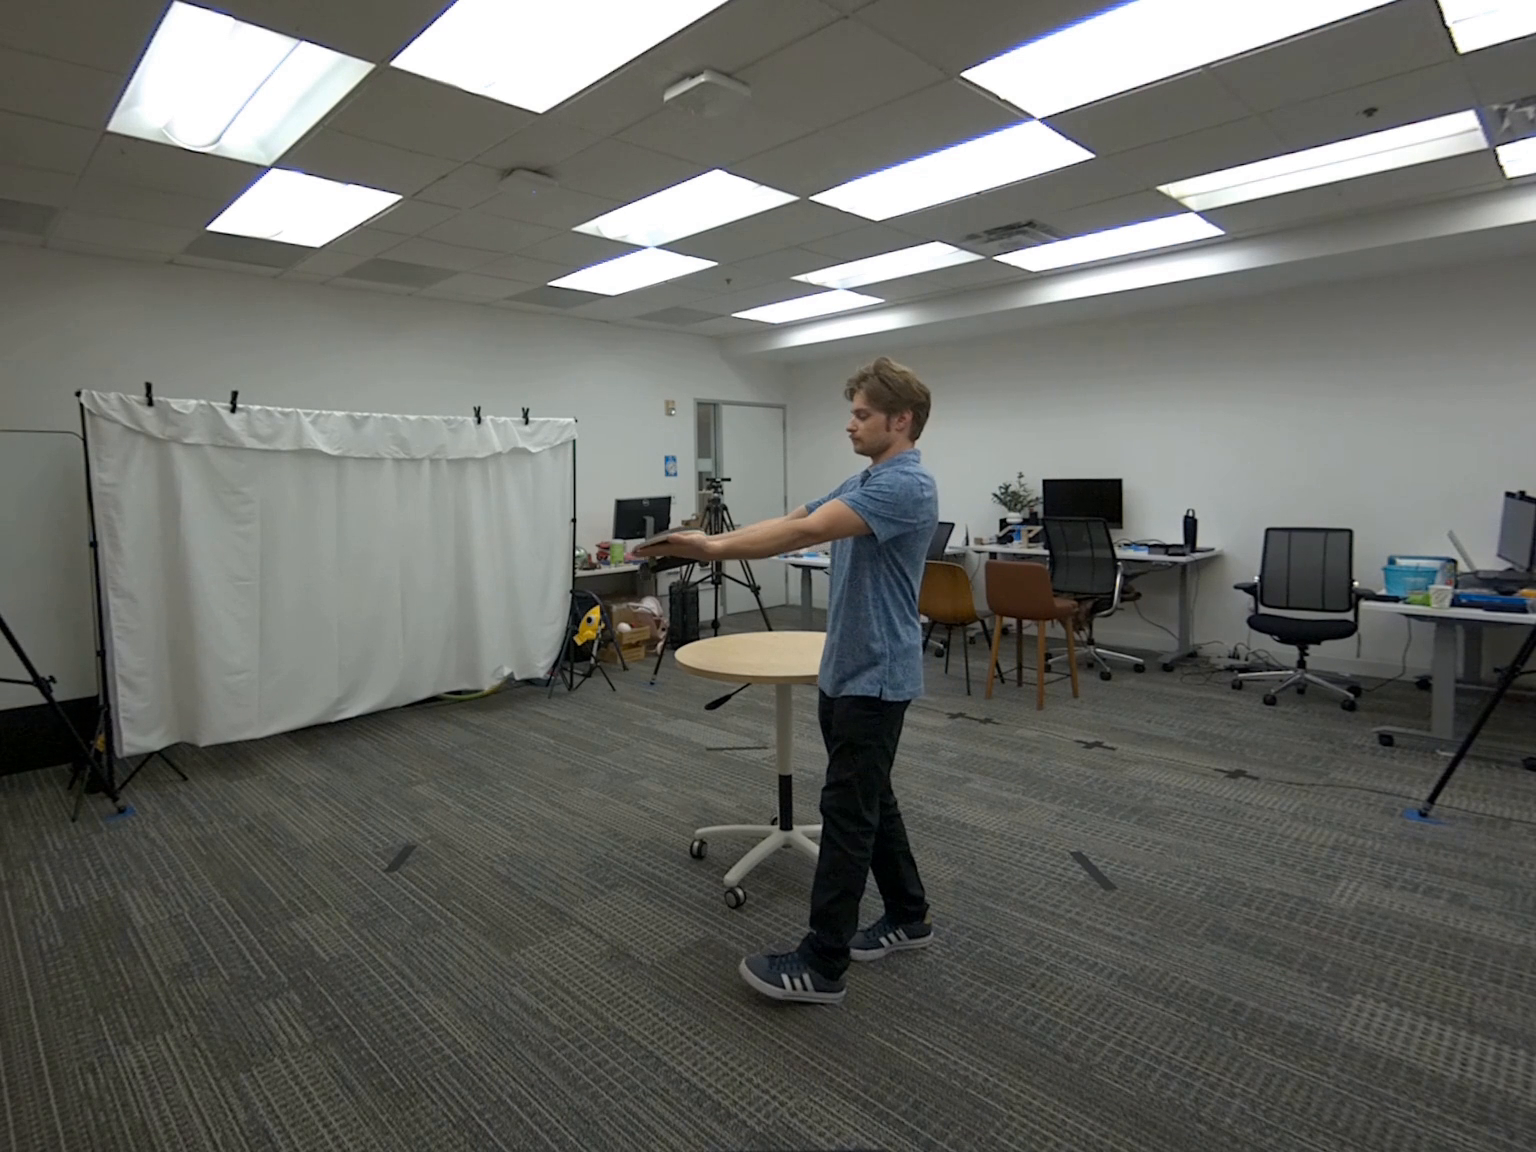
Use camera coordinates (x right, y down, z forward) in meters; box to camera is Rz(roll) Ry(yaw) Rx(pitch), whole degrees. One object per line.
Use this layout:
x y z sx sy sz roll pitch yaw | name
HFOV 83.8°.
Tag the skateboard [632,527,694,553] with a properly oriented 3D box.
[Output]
-0.263 -0.072 2.412 0.193 0.110 0.790 -15 5 -4 | skateboard
